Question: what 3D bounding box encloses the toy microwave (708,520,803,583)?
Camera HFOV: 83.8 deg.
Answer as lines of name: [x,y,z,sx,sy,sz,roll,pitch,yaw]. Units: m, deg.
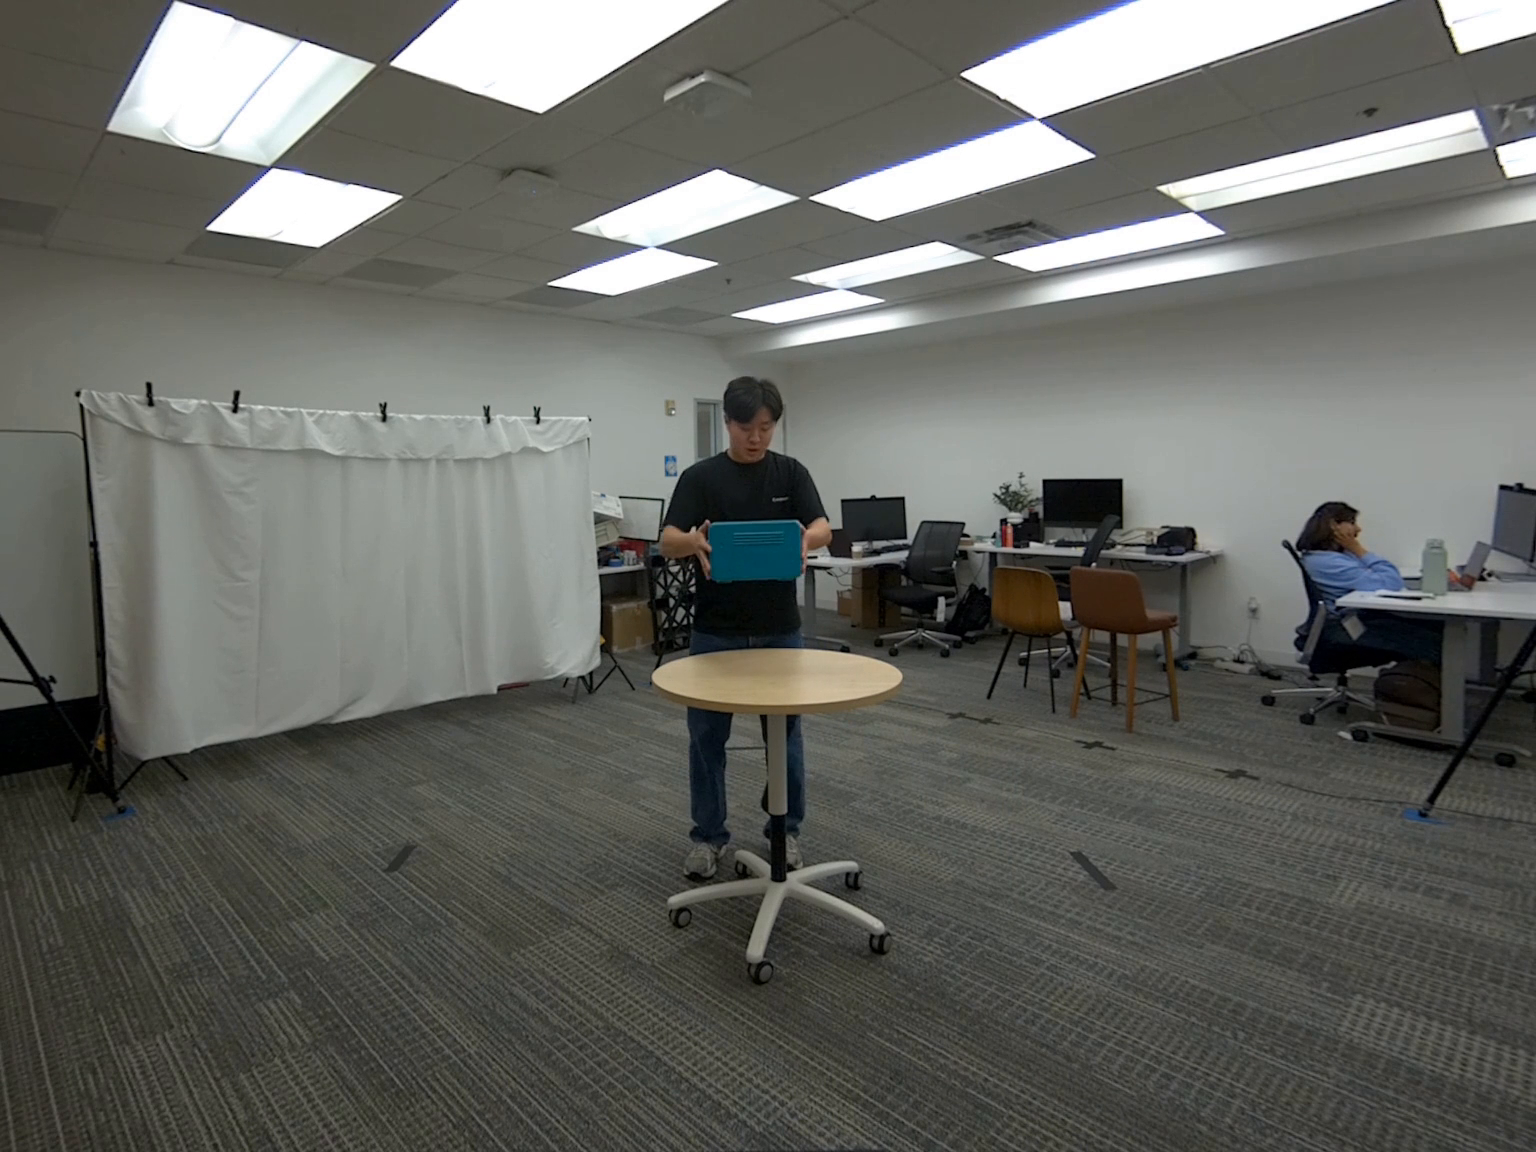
toy microwave: [-0.050,-0.072,2.645,0.285,0.184,0.153,-3,0,-4]
